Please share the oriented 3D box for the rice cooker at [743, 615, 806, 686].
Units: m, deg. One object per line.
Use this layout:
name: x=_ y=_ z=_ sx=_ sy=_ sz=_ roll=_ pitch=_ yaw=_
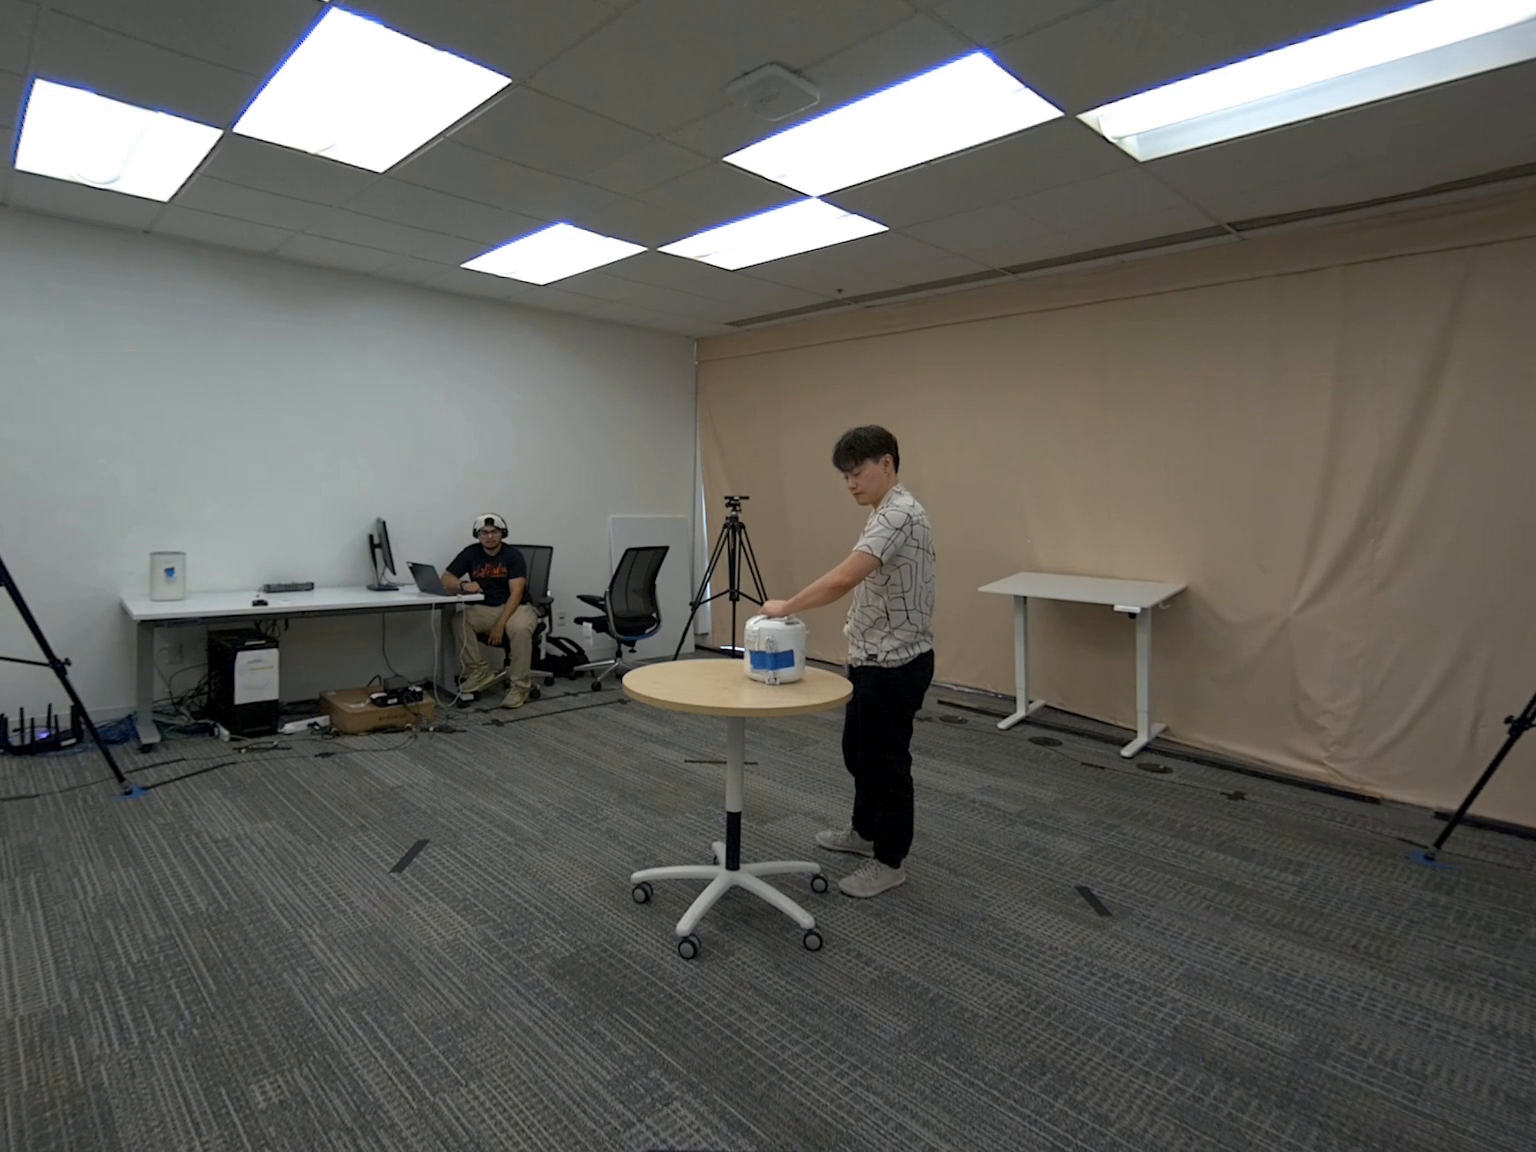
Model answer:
rice cooker: x=0.017 y=0.234 z=2.843 sx=0.216 sy=0.232 sz=0.223 roll=-2 pitch=7 yaw=-37
